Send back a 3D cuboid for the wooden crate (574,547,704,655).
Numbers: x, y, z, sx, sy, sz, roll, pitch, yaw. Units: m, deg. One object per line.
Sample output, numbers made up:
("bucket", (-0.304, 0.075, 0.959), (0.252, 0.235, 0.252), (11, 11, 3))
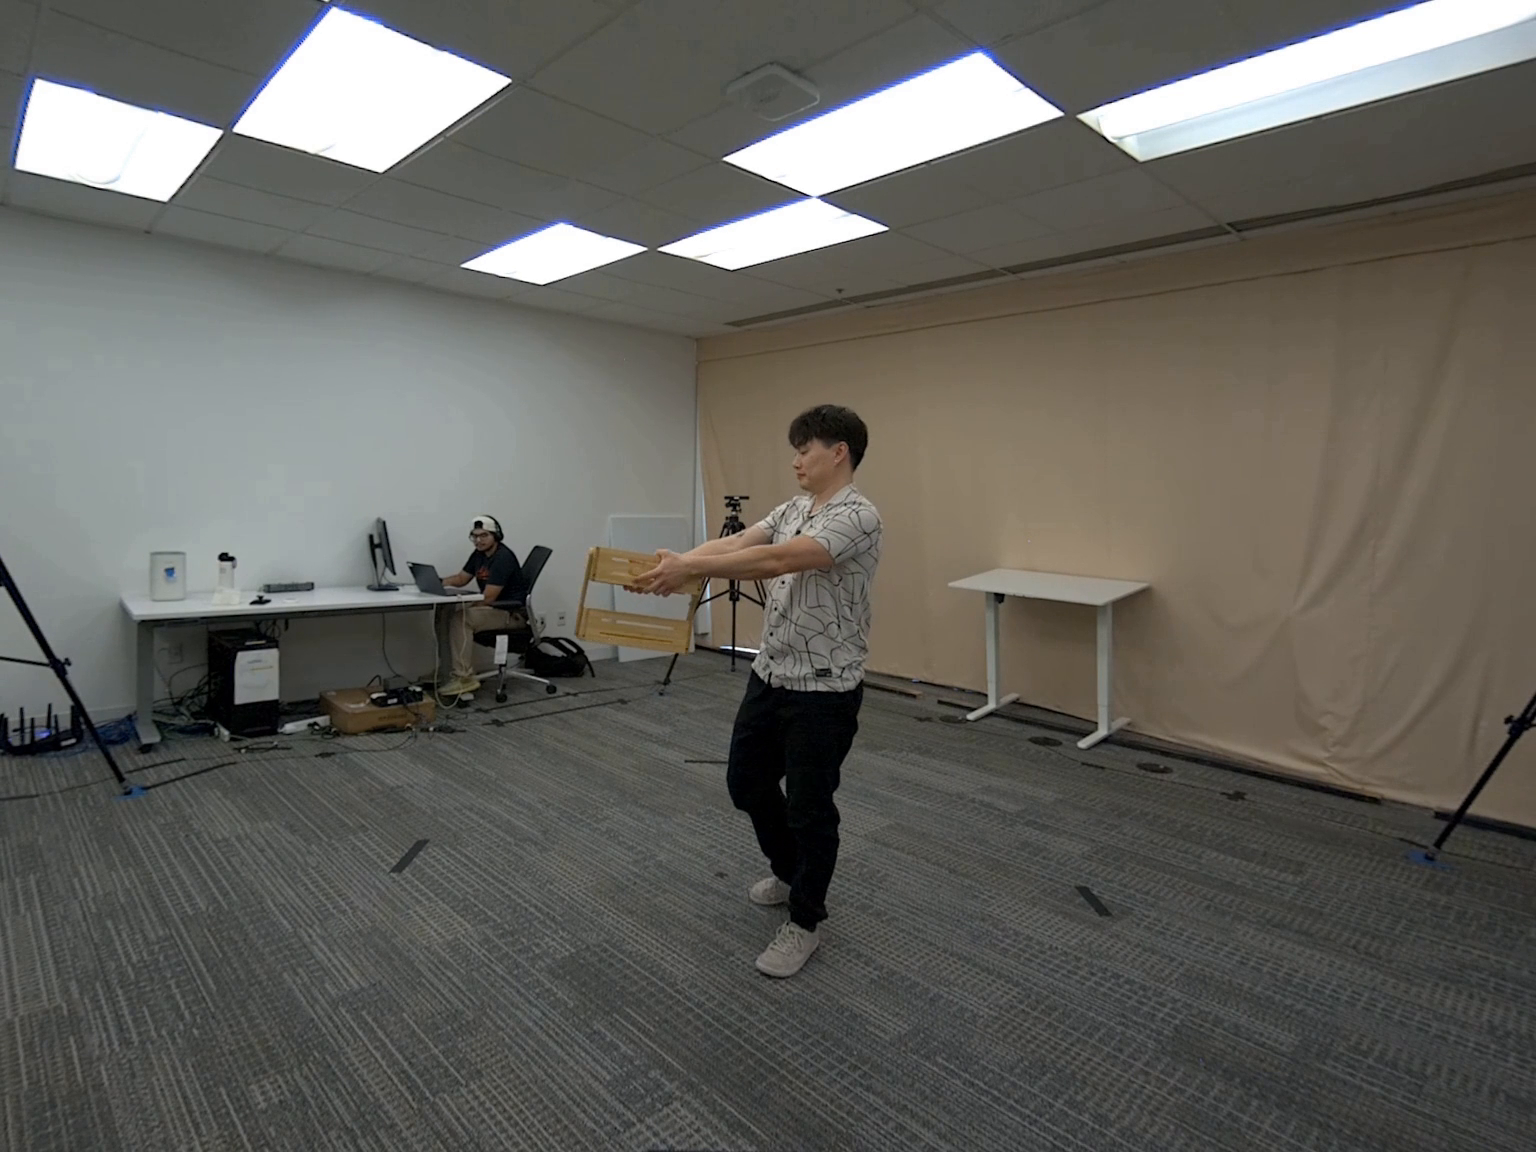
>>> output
("wooden crate", (-0.378, 0.069, 2.431), (0.320, 0.274, 0.305), (8, -4, -15))
